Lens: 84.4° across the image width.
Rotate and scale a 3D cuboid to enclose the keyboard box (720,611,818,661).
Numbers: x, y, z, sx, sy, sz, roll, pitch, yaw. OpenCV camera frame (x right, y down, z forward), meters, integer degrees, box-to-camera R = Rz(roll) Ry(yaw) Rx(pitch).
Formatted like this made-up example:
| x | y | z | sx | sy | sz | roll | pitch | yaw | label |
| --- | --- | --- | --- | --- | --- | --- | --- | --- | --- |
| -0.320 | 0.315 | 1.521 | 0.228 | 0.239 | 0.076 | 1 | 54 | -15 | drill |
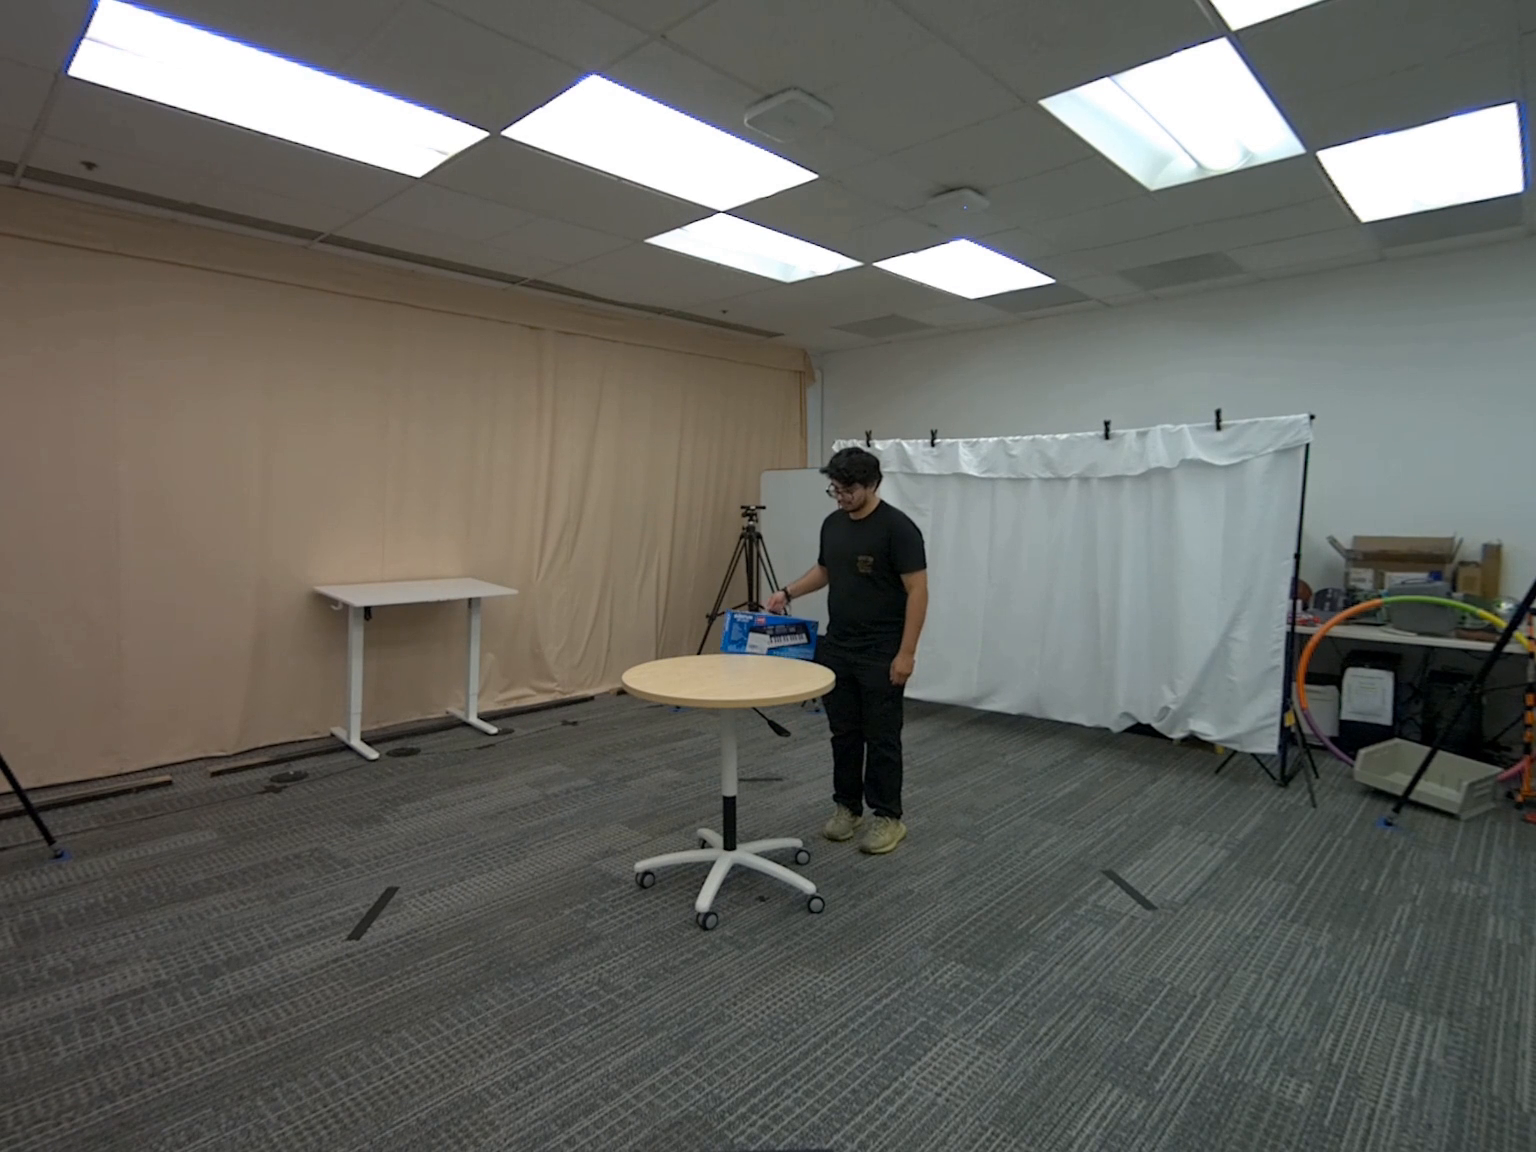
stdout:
| x | y | z | sx | sy | sz | roll | pitch | yaw | label |
| --- | --- | --- | --- | --- | --- | --- | --- | --- | --- |
| 0.015 | 0.257 | 3.598 | 0.425 | 0.176 | 0.061 | 8 | 1 | -28 | keyboard box |
